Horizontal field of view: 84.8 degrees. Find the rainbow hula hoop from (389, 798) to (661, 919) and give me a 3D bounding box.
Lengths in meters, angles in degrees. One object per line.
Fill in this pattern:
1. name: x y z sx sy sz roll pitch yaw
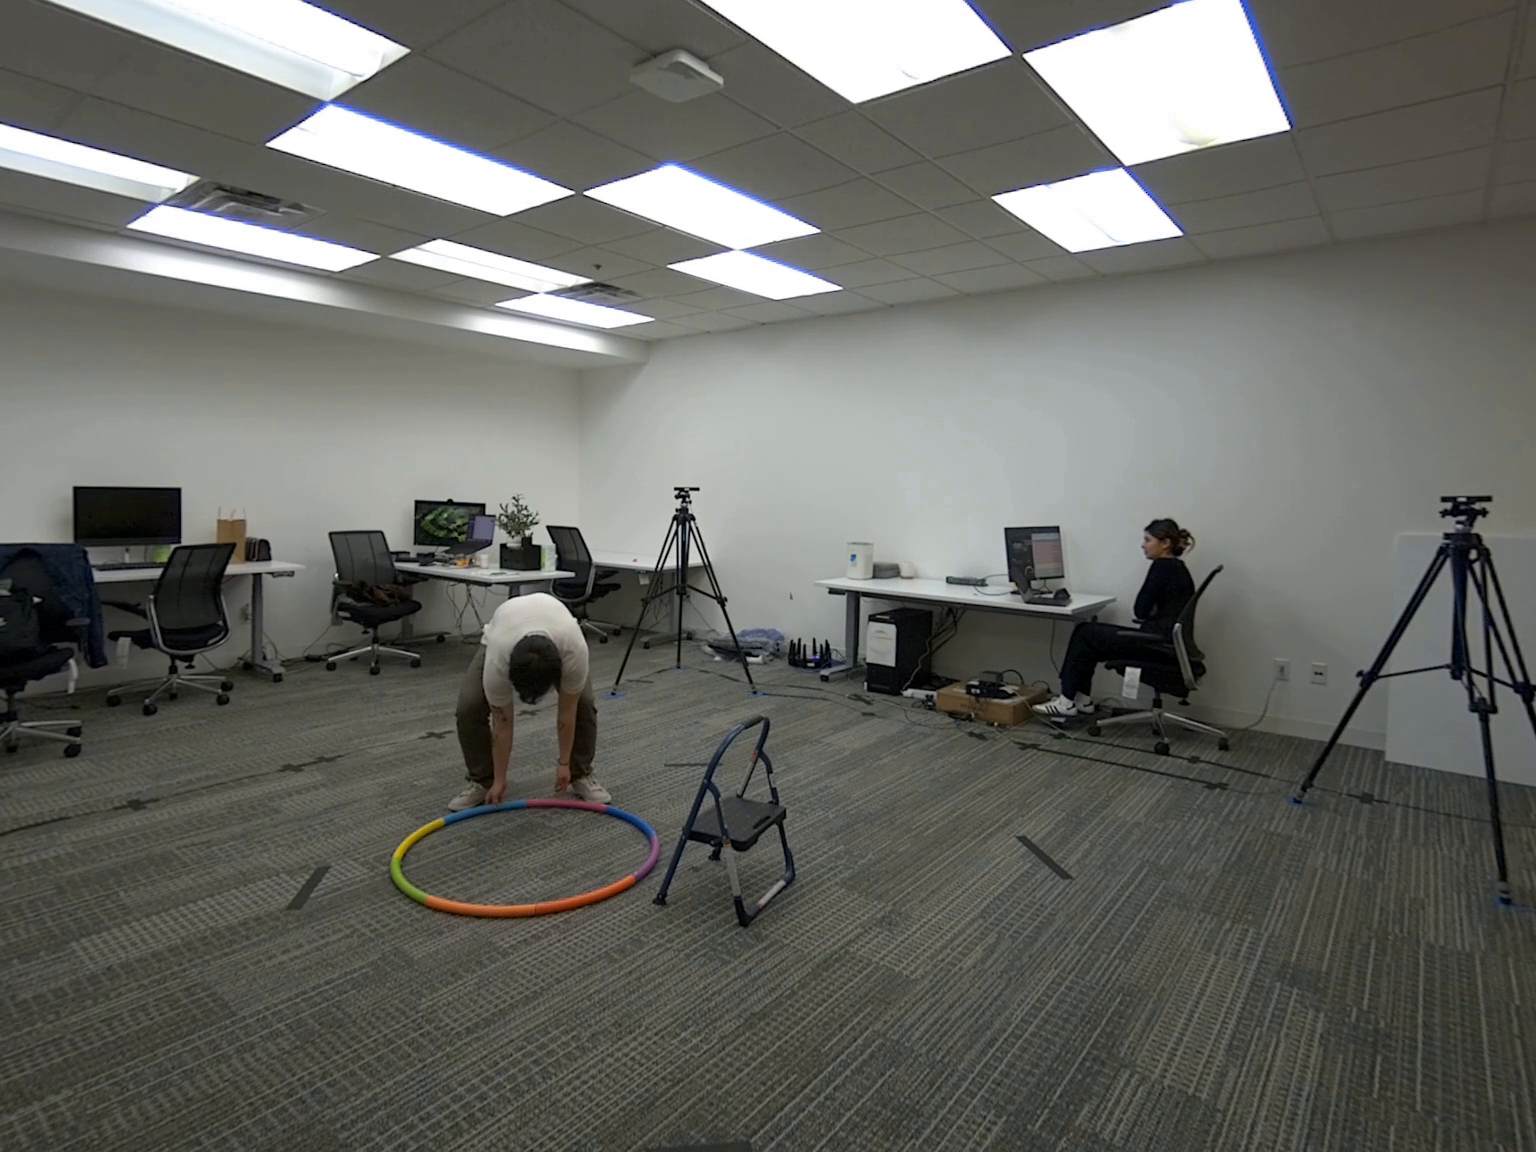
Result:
1. rainbow hula hoop: -0.910 1.014 3.209 0.978 0.035 0.984 1 6 -2
